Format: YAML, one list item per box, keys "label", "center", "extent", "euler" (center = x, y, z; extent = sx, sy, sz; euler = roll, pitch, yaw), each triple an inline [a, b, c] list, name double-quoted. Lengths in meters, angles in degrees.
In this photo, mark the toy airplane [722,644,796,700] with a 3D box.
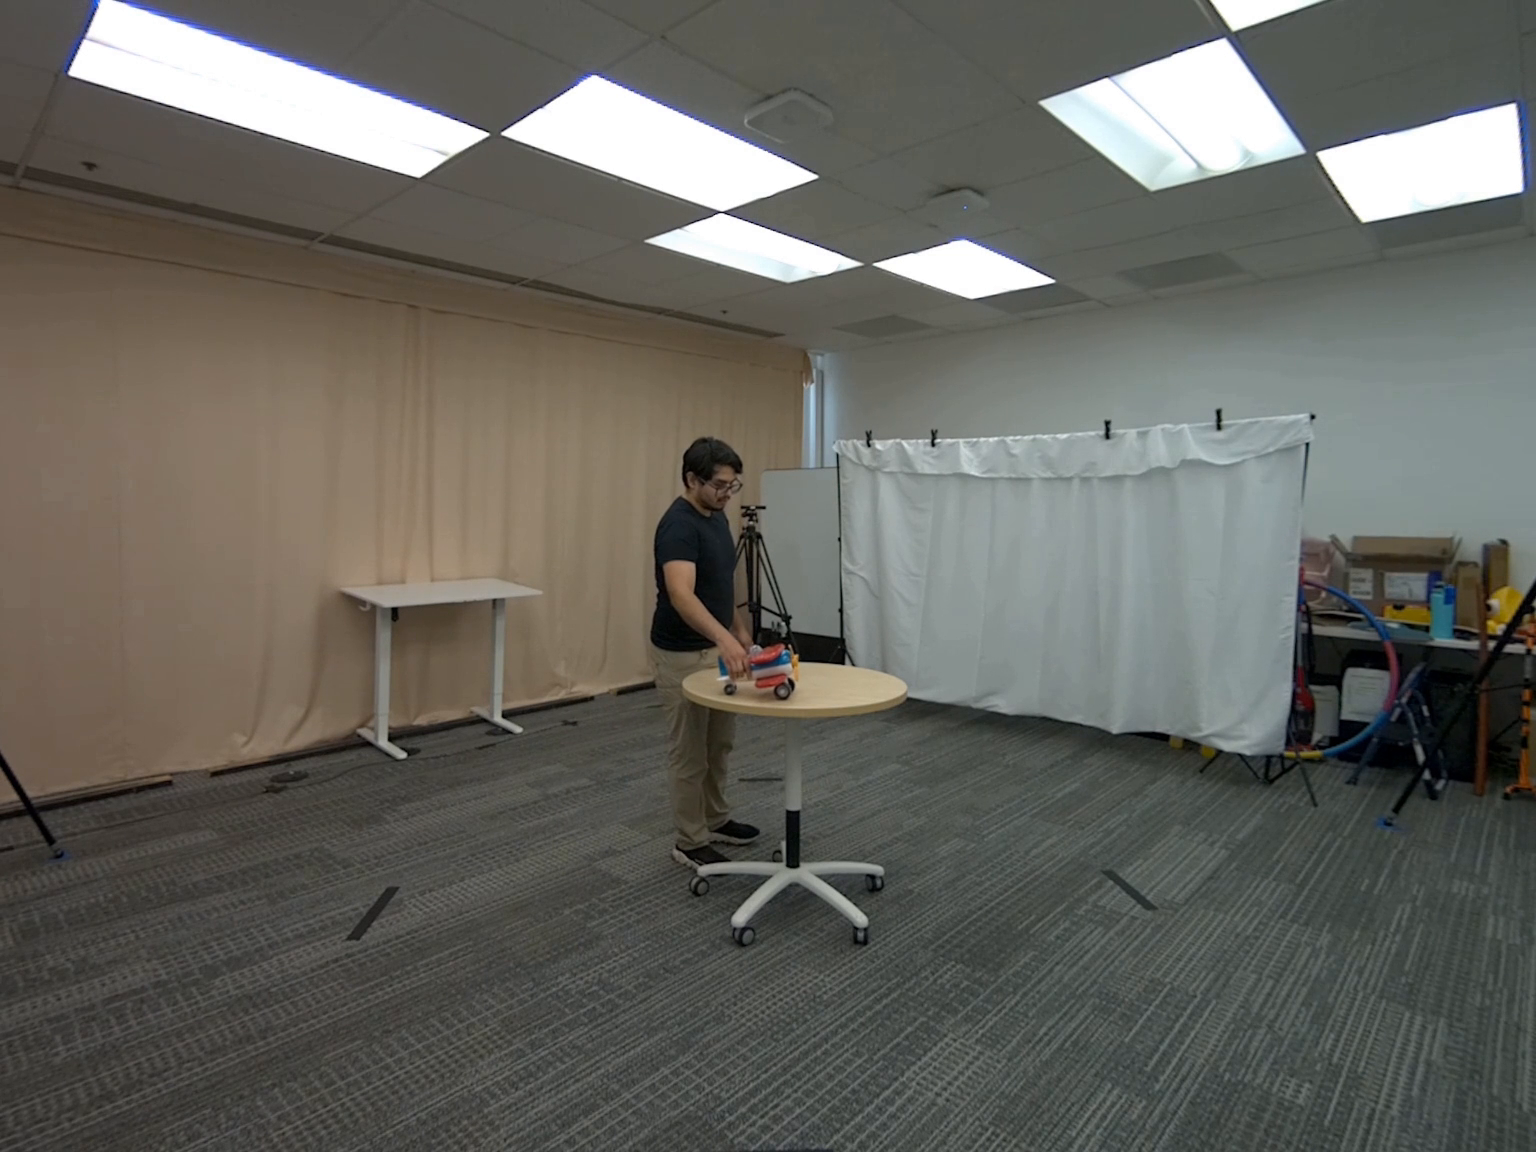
- label: "toy airplane"
  center: [-0.022, 0.306, 2.670]
  extent: [0.254, 0.156, 0.256]
  euler: [0, 3, -18]
